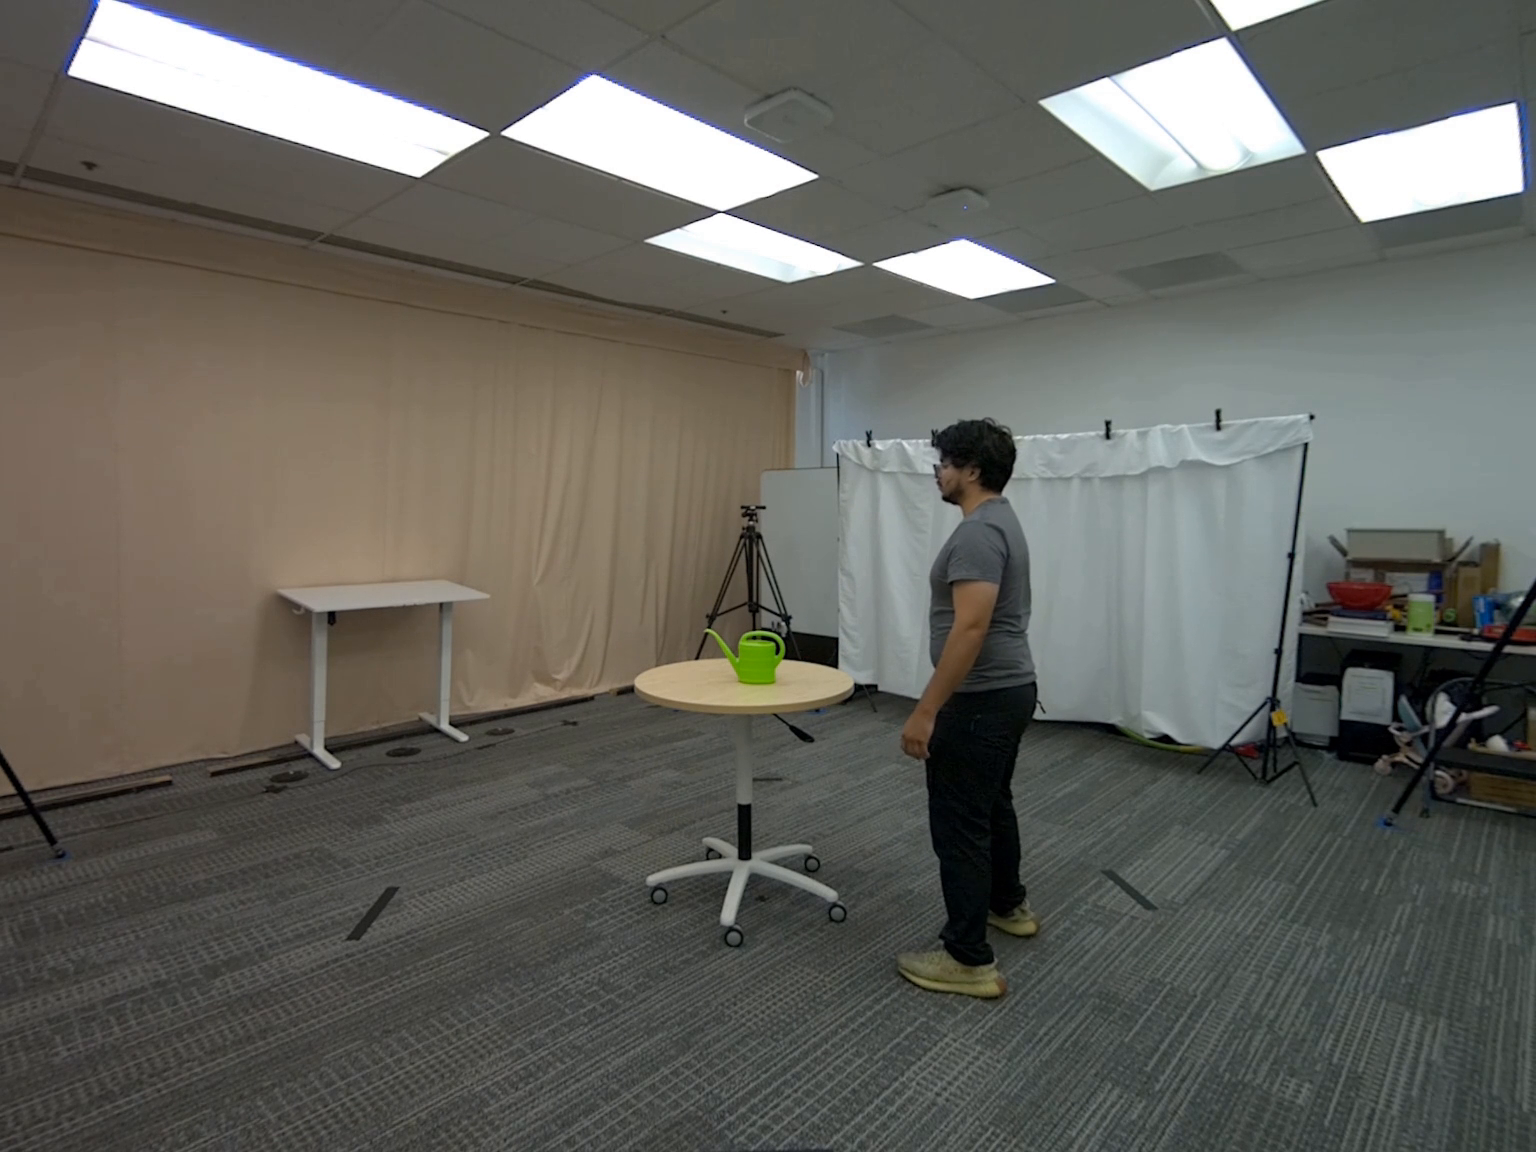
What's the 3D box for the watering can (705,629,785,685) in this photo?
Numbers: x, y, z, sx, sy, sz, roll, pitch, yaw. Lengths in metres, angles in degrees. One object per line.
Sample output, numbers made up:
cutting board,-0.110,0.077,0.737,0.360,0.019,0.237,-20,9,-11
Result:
watering can,-0.078,0.280,2.924,0.284,0.176,0.096,3,5,21
